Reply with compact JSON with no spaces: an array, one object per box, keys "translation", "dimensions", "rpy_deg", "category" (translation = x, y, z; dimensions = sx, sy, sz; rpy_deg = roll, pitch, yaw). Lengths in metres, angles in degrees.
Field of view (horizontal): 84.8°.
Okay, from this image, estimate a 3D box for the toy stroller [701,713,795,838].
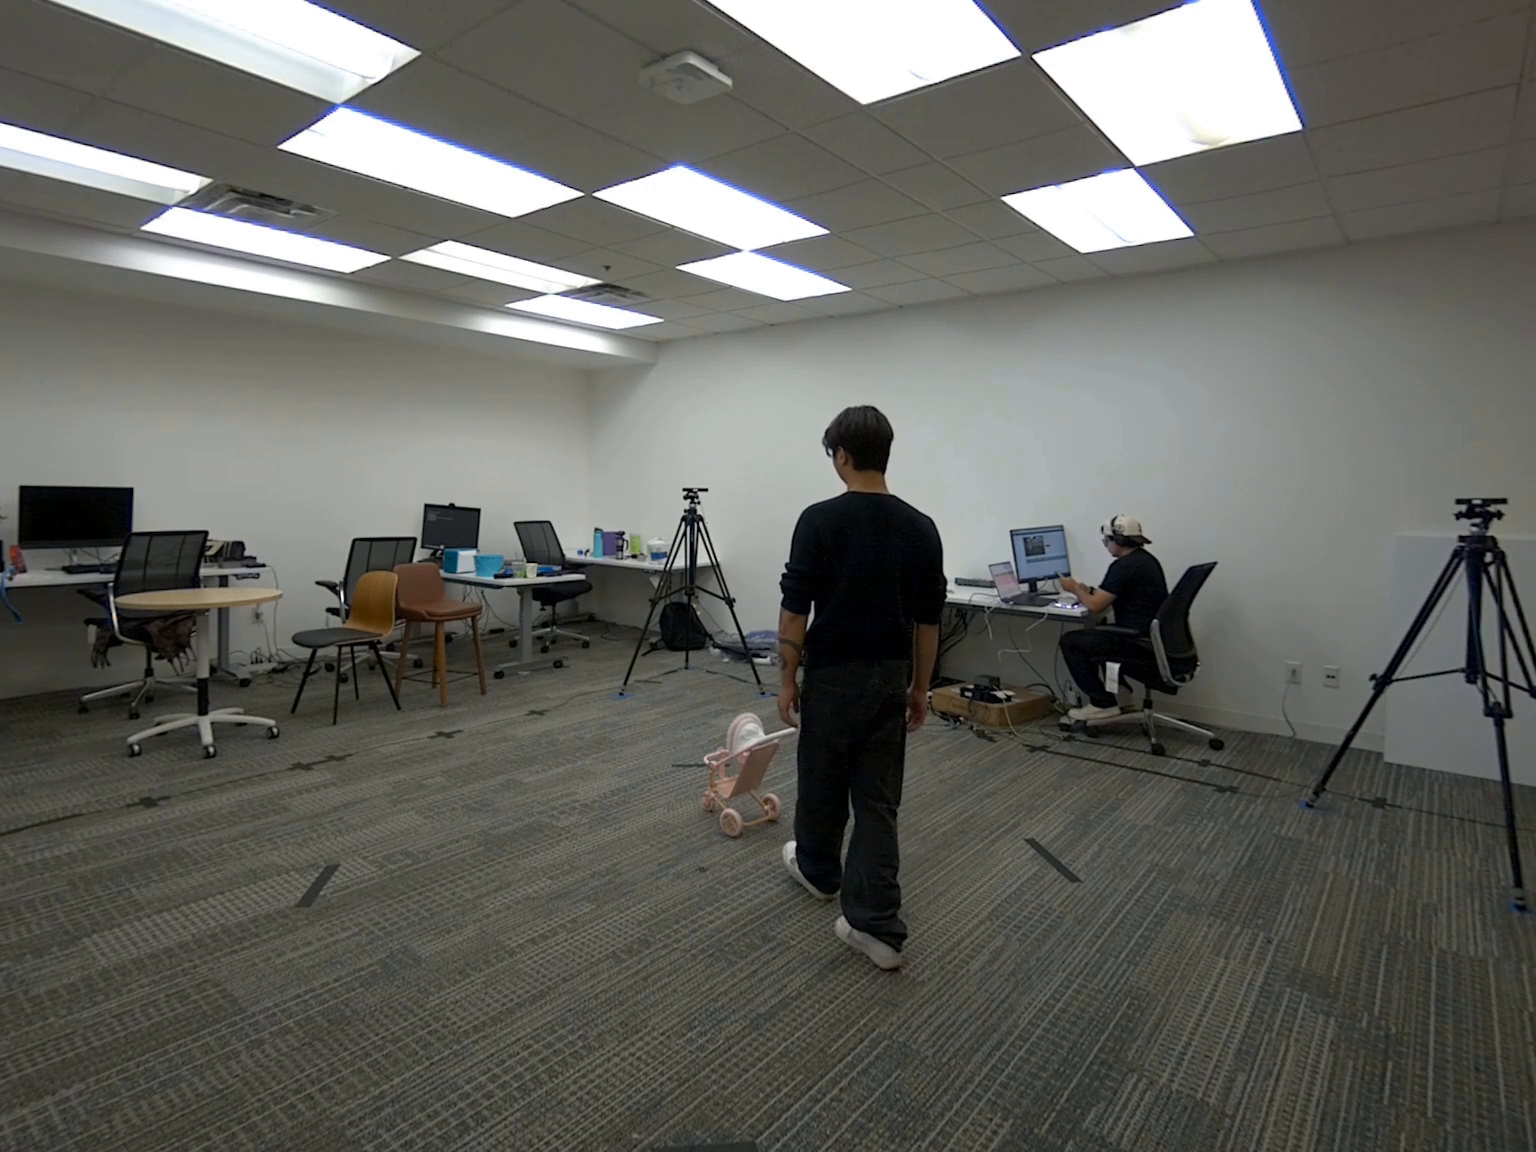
[{"translation":[-0.119,0.803,3.541],"dimensions":[0.273,0.529,0.355],"rpy_deg":[-2,20,-44],"category":"toy stroller"}]
